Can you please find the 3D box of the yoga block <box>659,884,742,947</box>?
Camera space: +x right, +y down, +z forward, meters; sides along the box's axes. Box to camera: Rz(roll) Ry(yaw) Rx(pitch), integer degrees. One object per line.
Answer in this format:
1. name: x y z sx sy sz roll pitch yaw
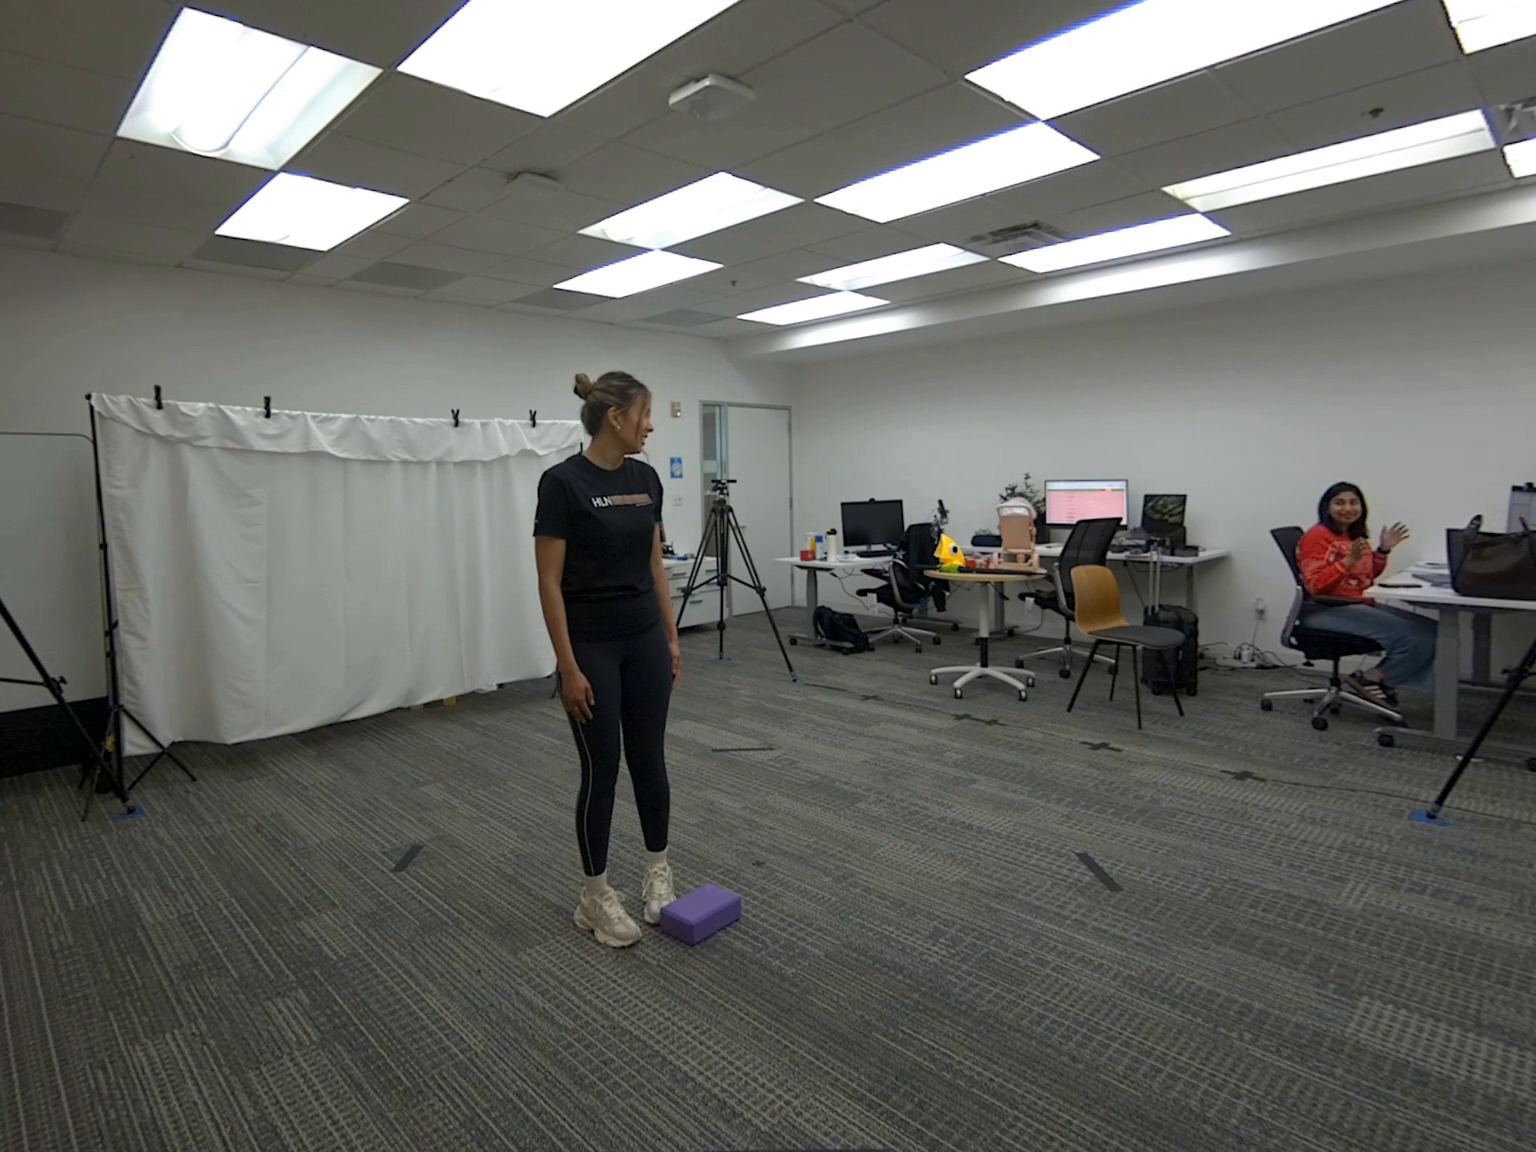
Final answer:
1. yoga block: -0.196 1.054 2.685 0.153 0.076 0.223 5 7 39
